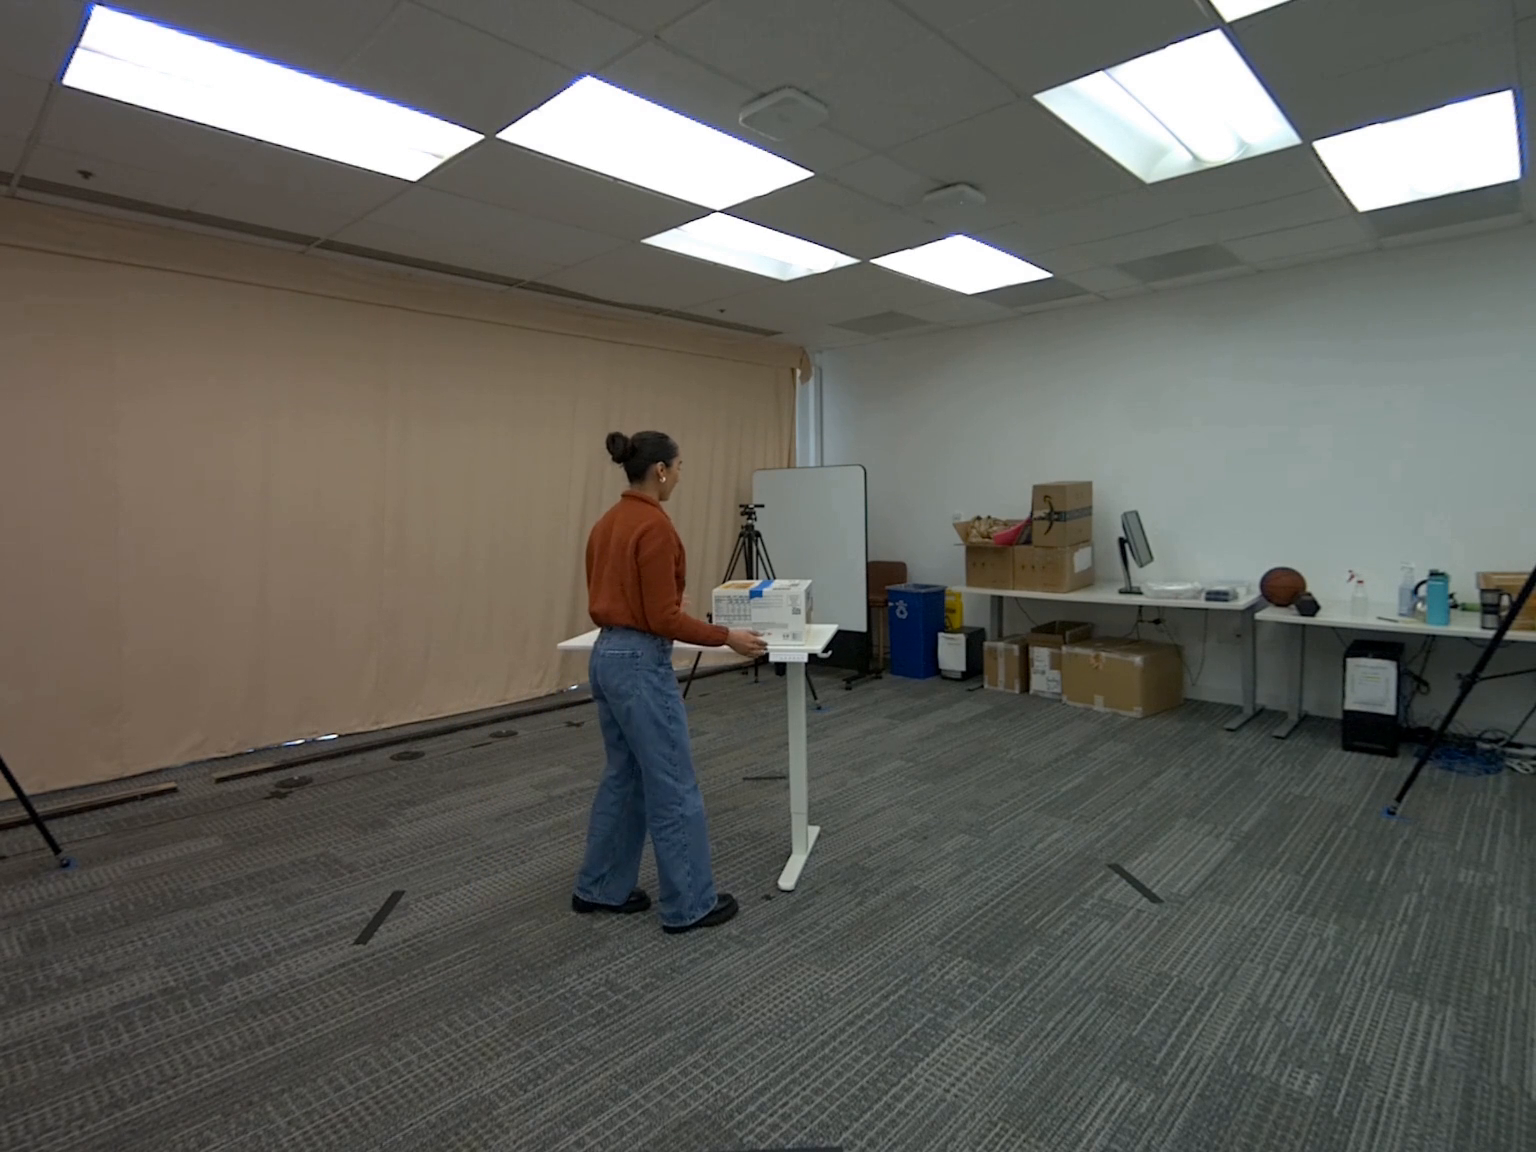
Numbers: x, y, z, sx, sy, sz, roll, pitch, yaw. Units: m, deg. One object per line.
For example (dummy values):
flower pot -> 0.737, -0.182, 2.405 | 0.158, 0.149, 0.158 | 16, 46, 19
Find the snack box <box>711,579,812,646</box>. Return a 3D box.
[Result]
snack box -> -0.006, 0.135, 3.229 | 0.344, 0.205, 0.402 | -1, 4, 8
